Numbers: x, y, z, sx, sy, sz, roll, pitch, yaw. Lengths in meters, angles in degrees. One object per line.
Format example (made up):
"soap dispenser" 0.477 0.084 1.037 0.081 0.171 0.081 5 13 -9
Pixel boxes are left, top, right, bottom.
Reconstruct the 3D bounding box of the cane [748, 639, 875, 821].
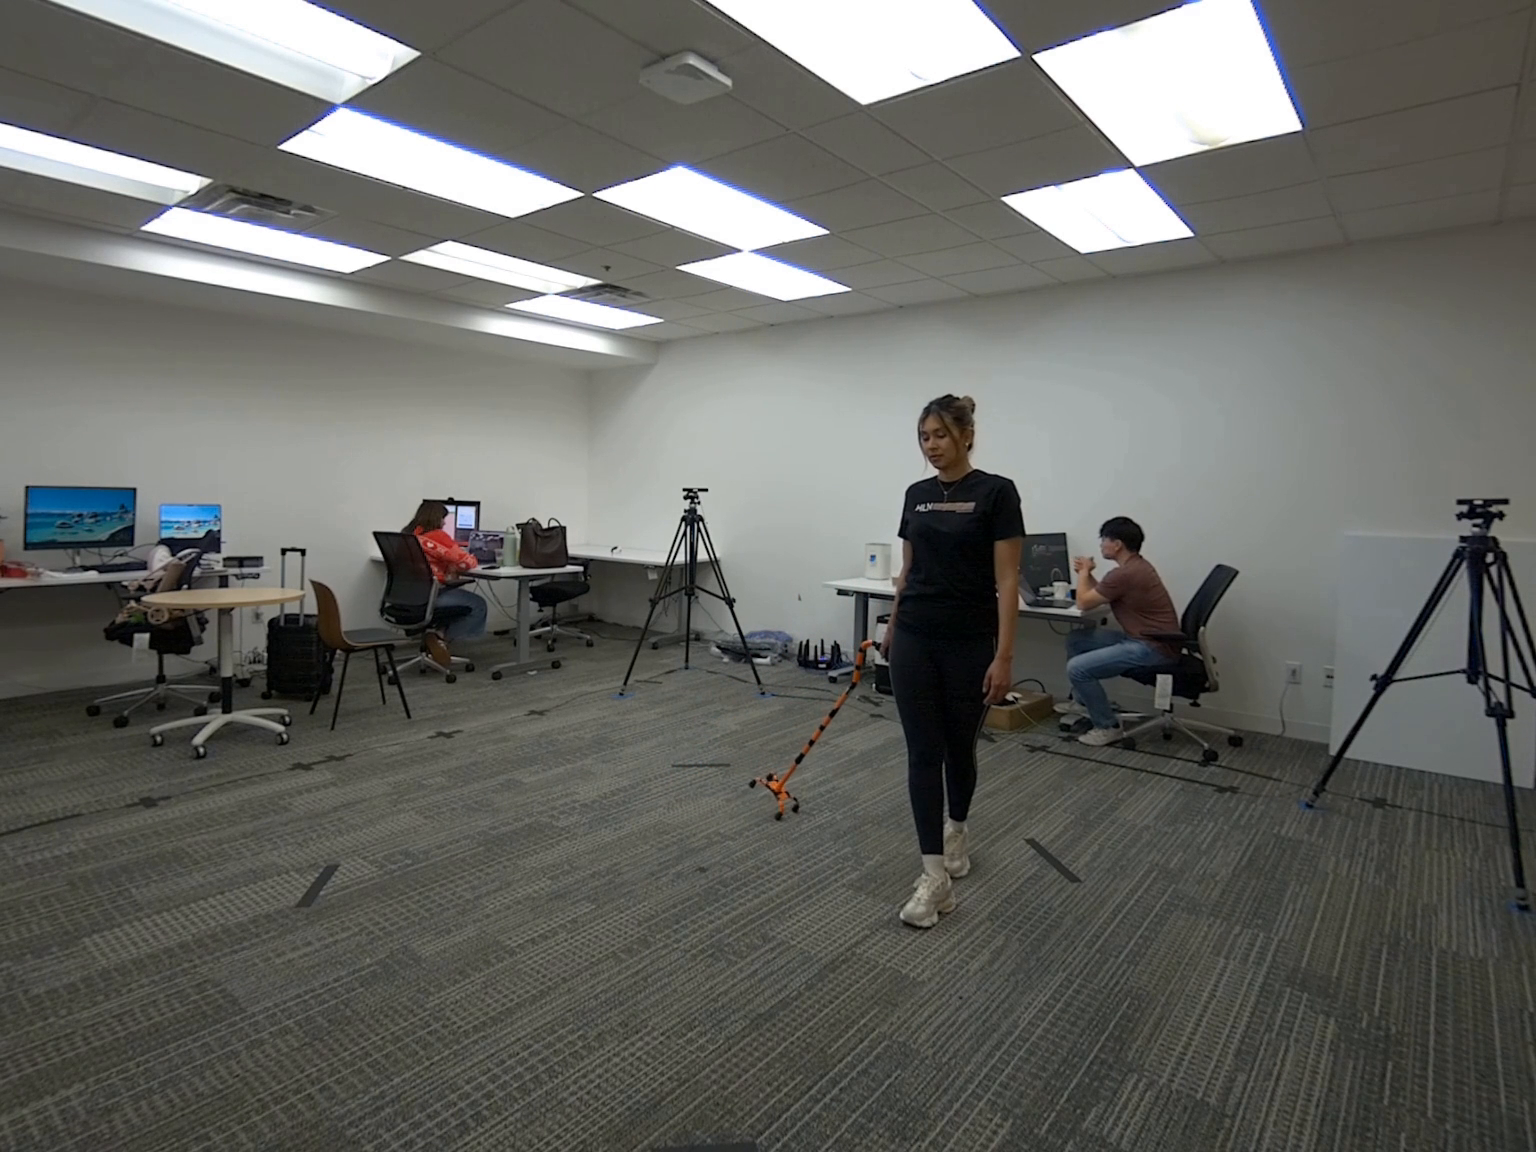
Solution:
"cane" 0.224 0.614 3.499 0.147 0.902 0.214 -2 41 -50
